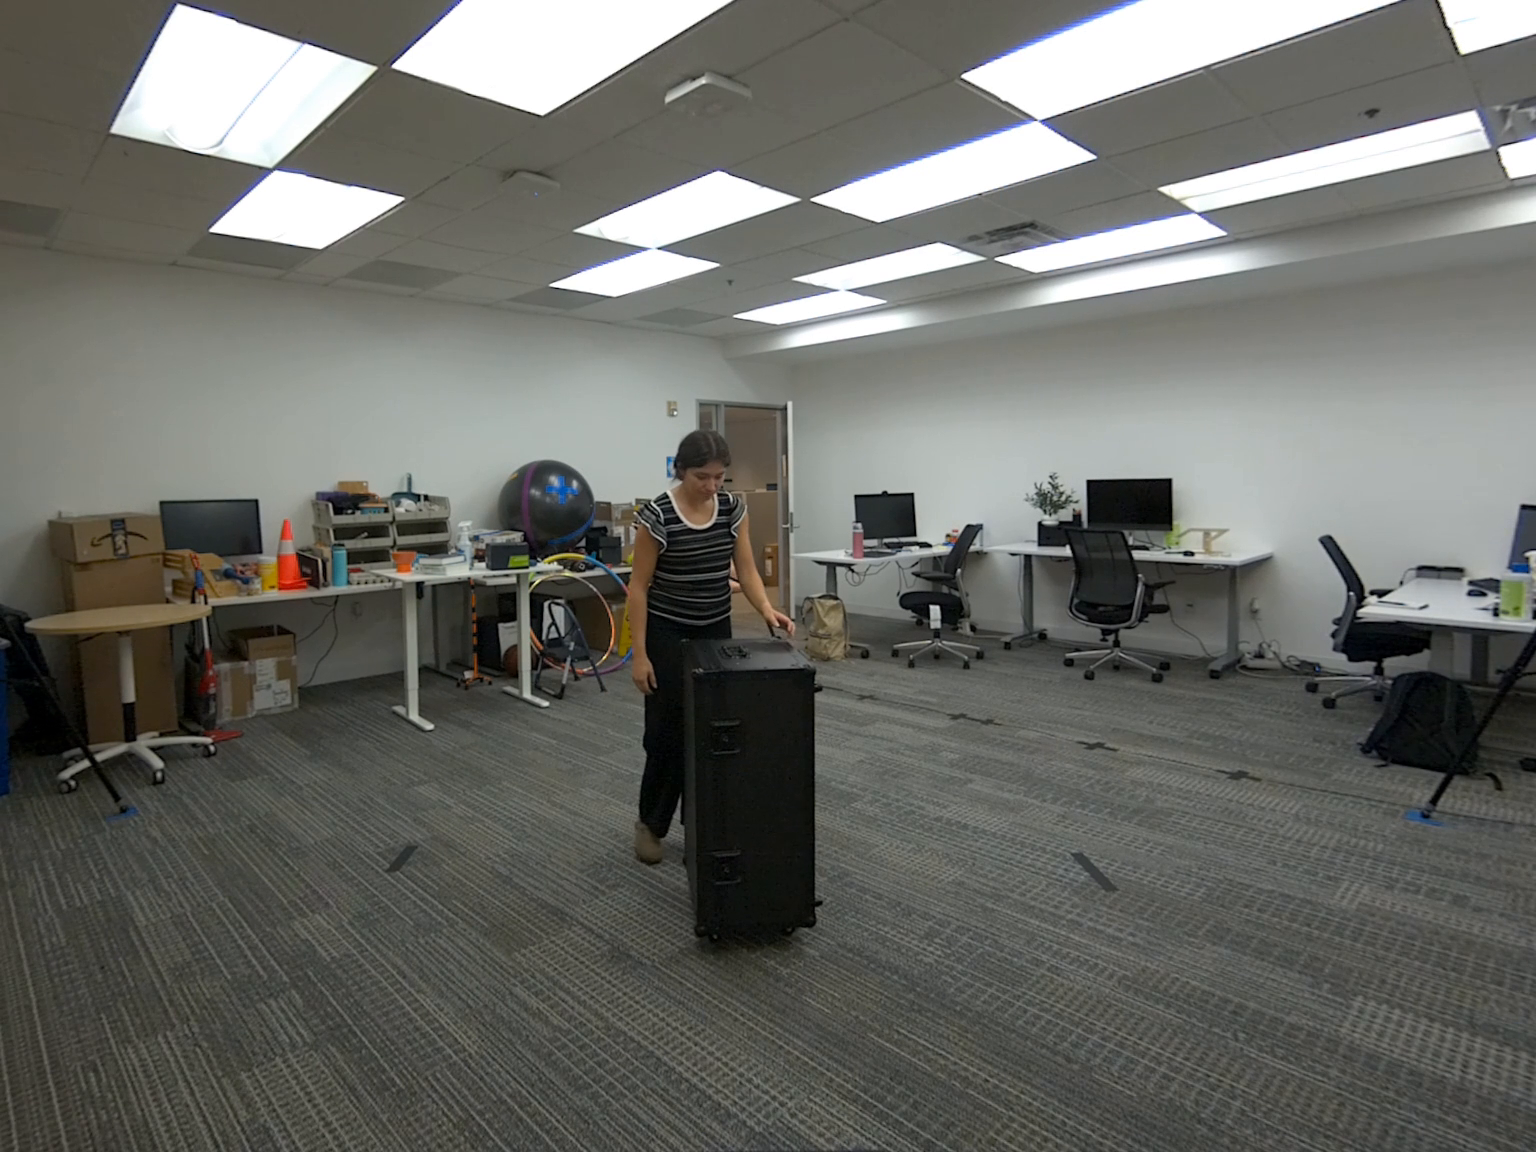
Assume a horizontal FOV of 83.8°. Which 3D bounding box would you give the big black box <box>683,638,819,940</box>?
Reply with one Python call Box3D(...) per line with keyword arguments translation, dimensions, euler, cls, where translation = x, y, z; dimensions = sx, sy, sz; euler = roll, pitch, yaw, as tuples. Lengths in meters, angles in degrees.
Box3D(translation=(-0.065, 0.663, 2.729), dimensions=(0.394, 0.859, 0.526), euler=(0, 4, -7), cls="big black box")
